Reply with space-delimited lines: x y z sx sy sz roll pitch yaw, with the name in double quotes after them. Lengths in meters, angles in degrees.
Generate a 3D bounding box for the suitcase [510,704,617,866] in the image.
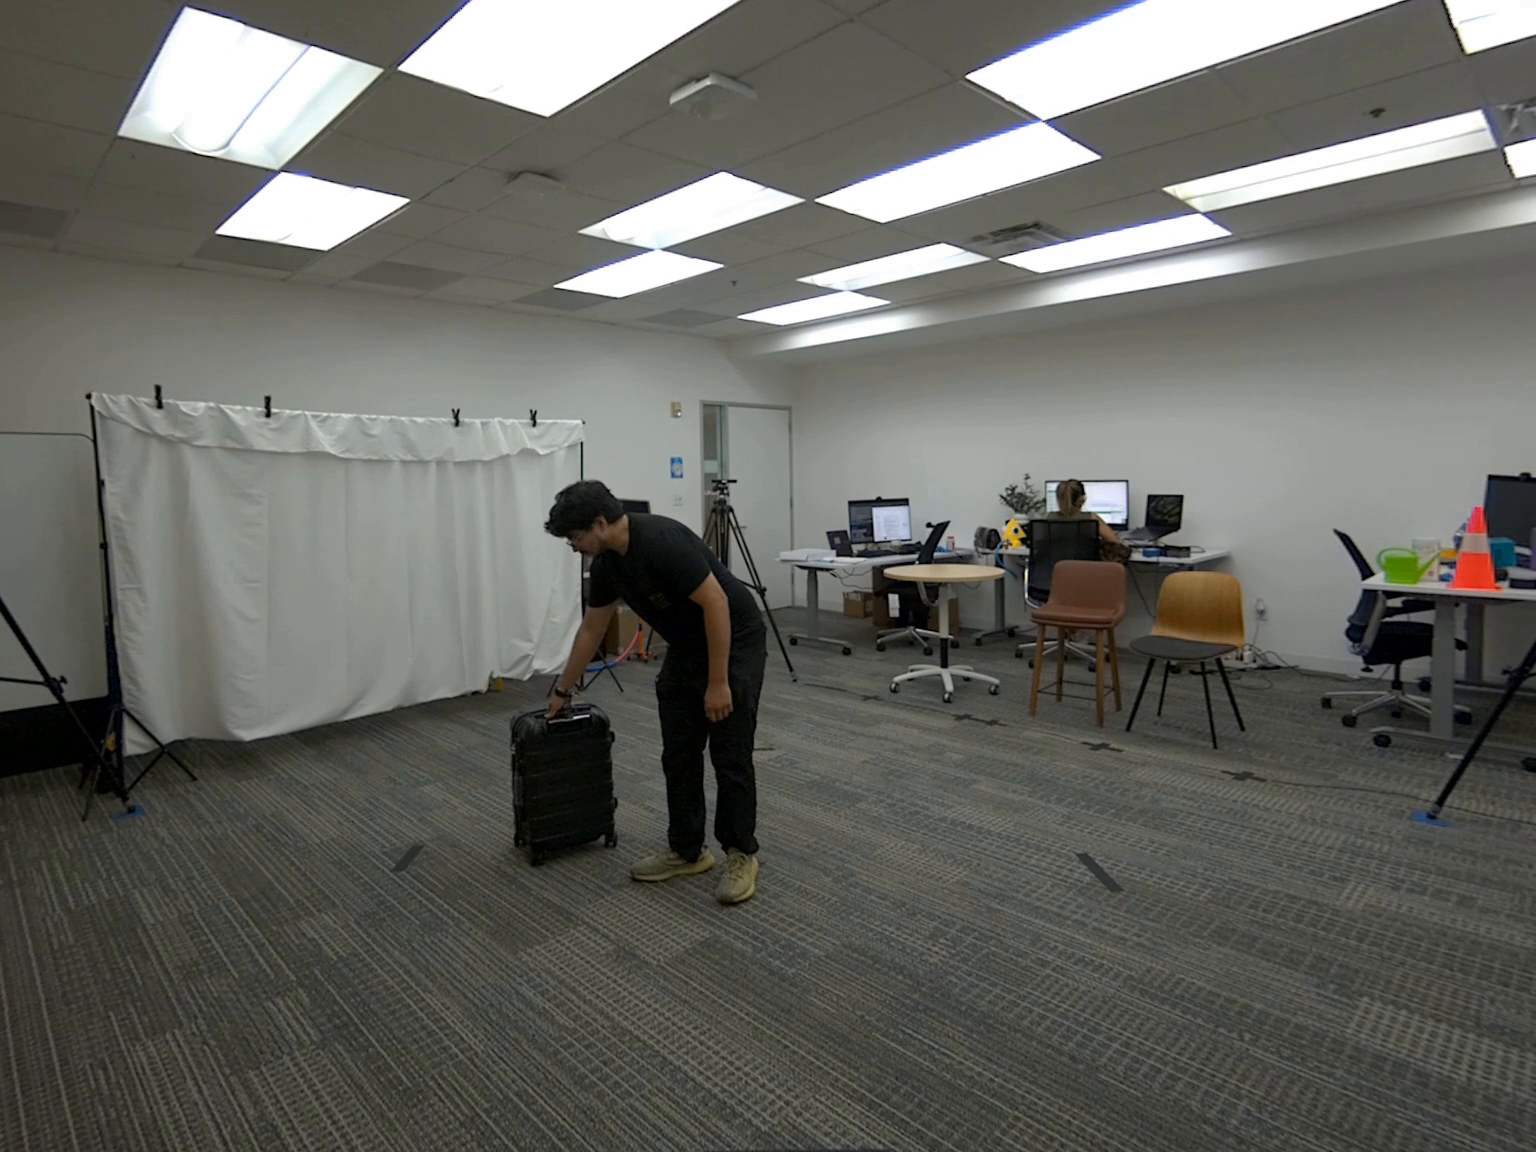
-0.786 0.774 3.279 0.366 0.547 0.255 -4 6 -31 "suitcase"
